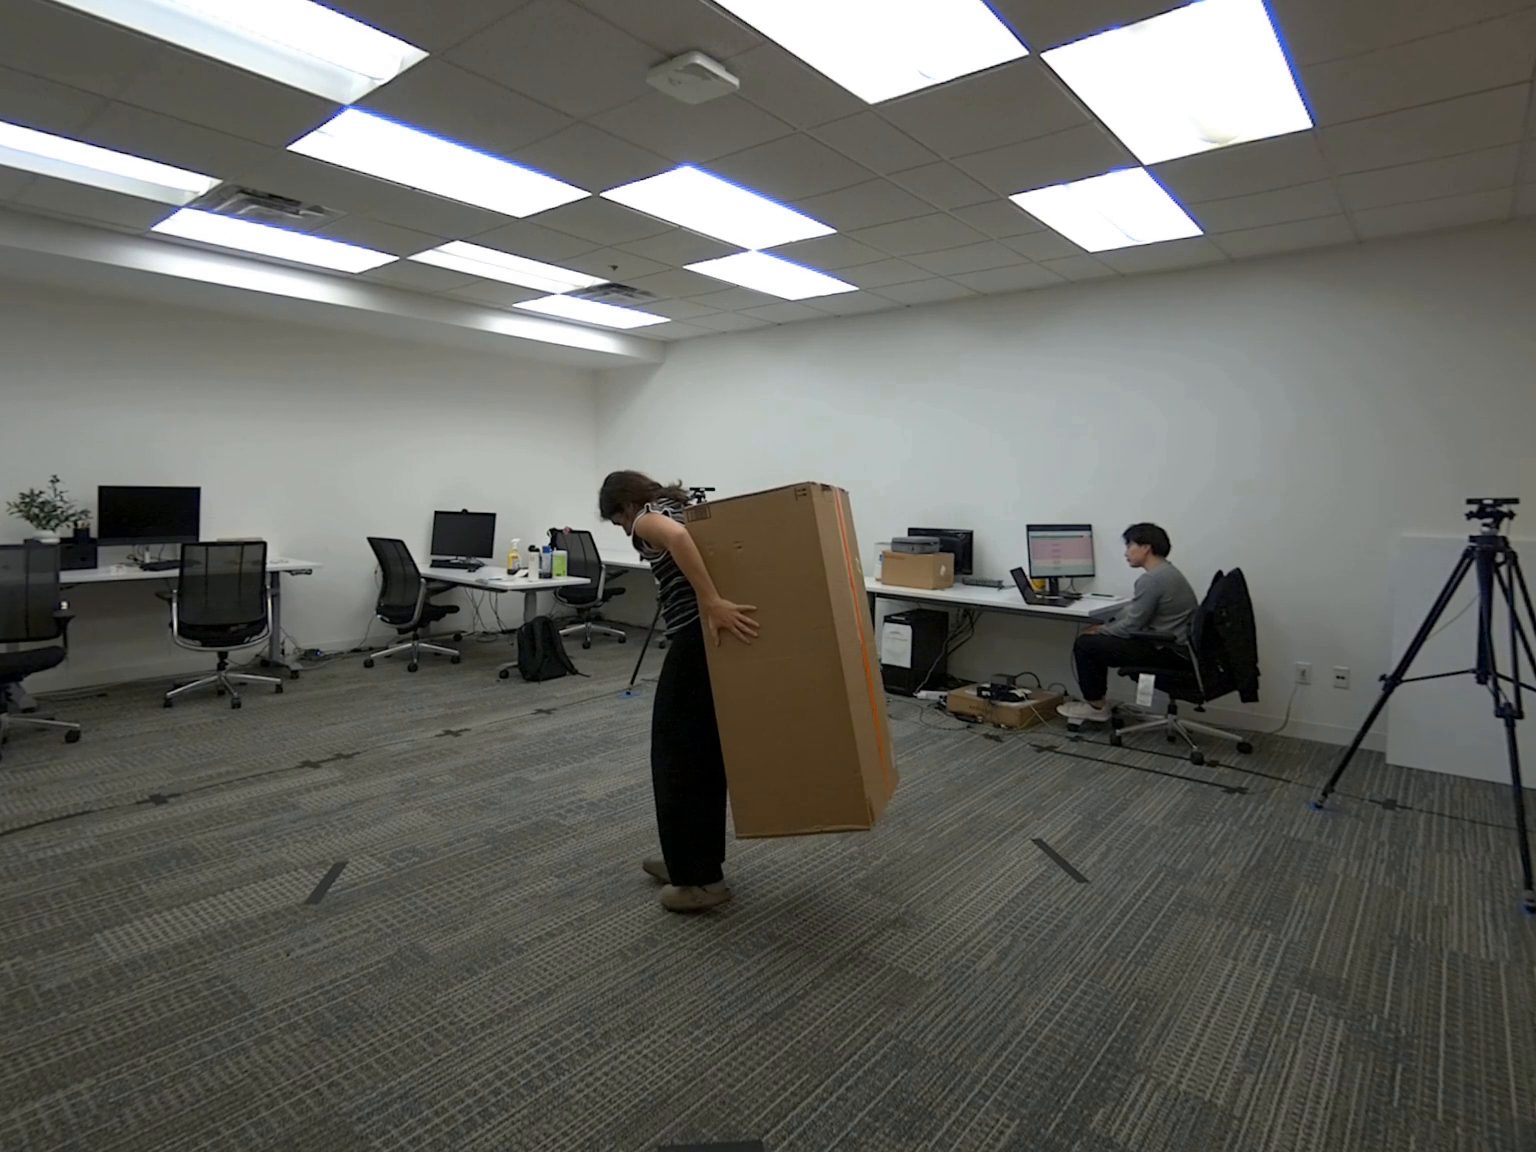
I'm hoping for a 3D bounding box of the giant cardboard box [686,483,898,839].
[{"bbox_3d":[0.088,0.250,2.790,0.433,1.031,0.566,-11,-4,18],"label":"giant cardboard box"}]
